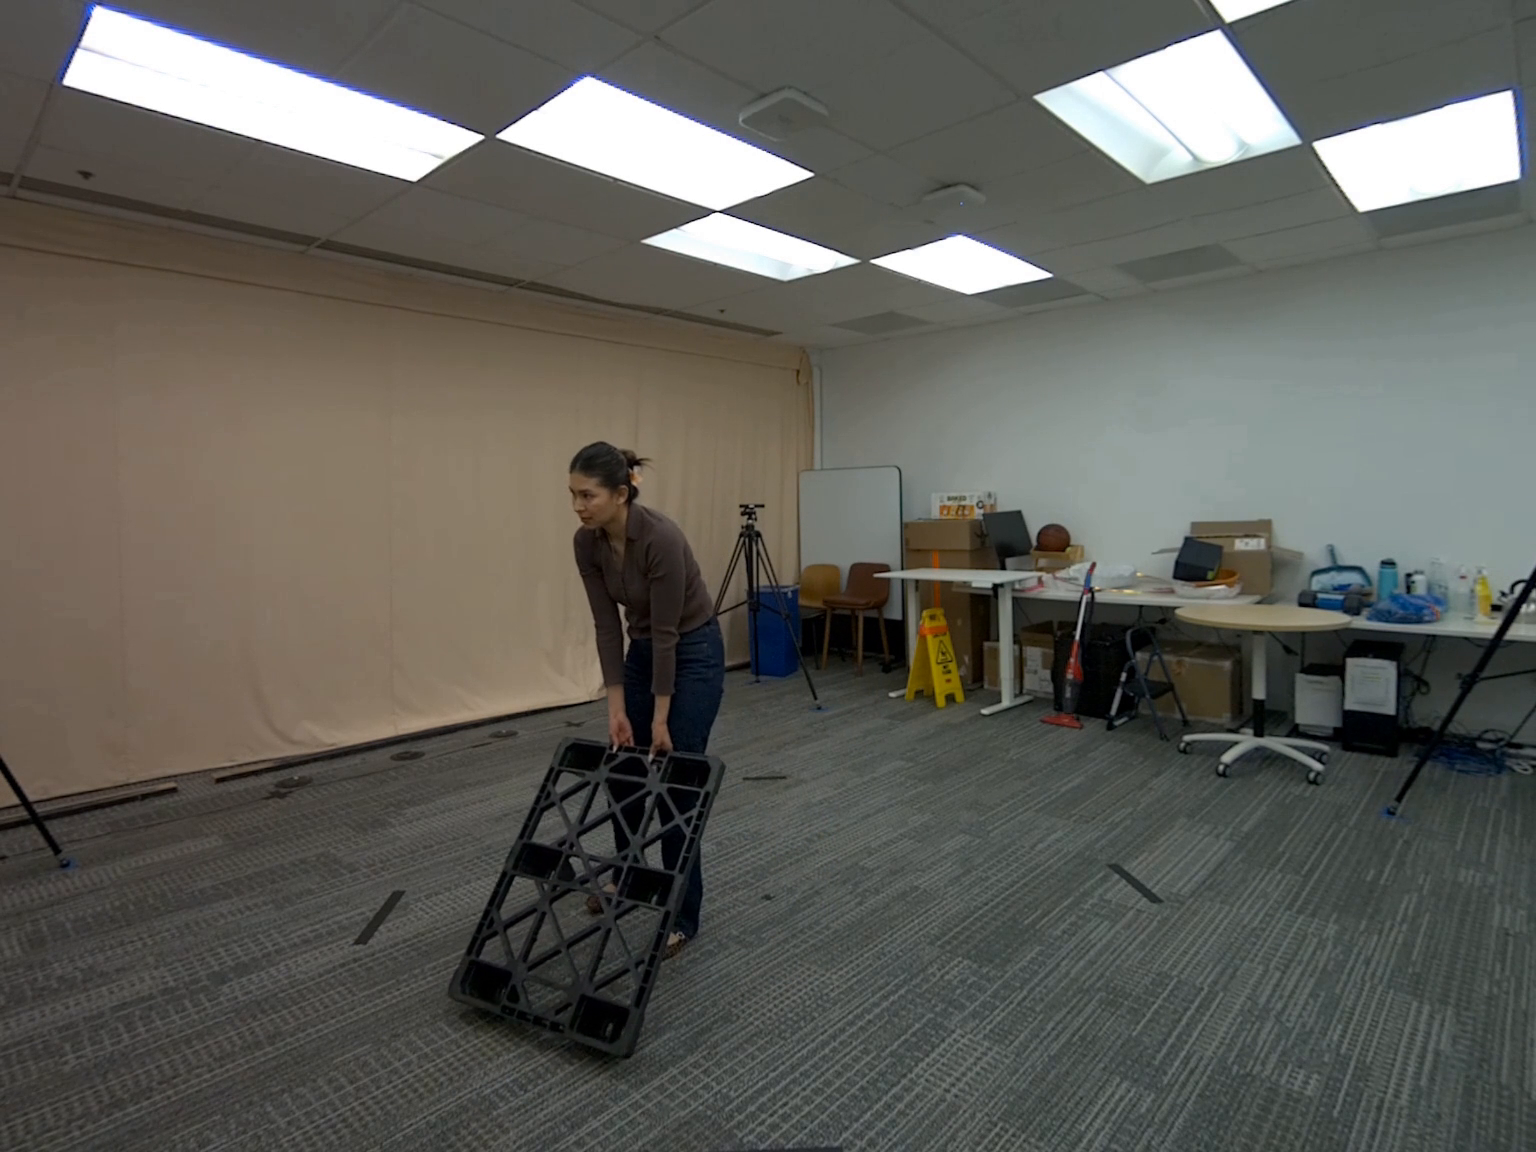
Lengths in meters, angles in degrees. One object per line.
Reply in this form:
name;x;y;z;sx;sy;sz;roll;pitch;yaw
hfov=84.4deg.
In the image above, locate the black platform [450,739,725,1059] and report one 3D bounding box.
black platform;-0.481;0.882;2.431;0.621;0.810;0.139;1;-37;26
